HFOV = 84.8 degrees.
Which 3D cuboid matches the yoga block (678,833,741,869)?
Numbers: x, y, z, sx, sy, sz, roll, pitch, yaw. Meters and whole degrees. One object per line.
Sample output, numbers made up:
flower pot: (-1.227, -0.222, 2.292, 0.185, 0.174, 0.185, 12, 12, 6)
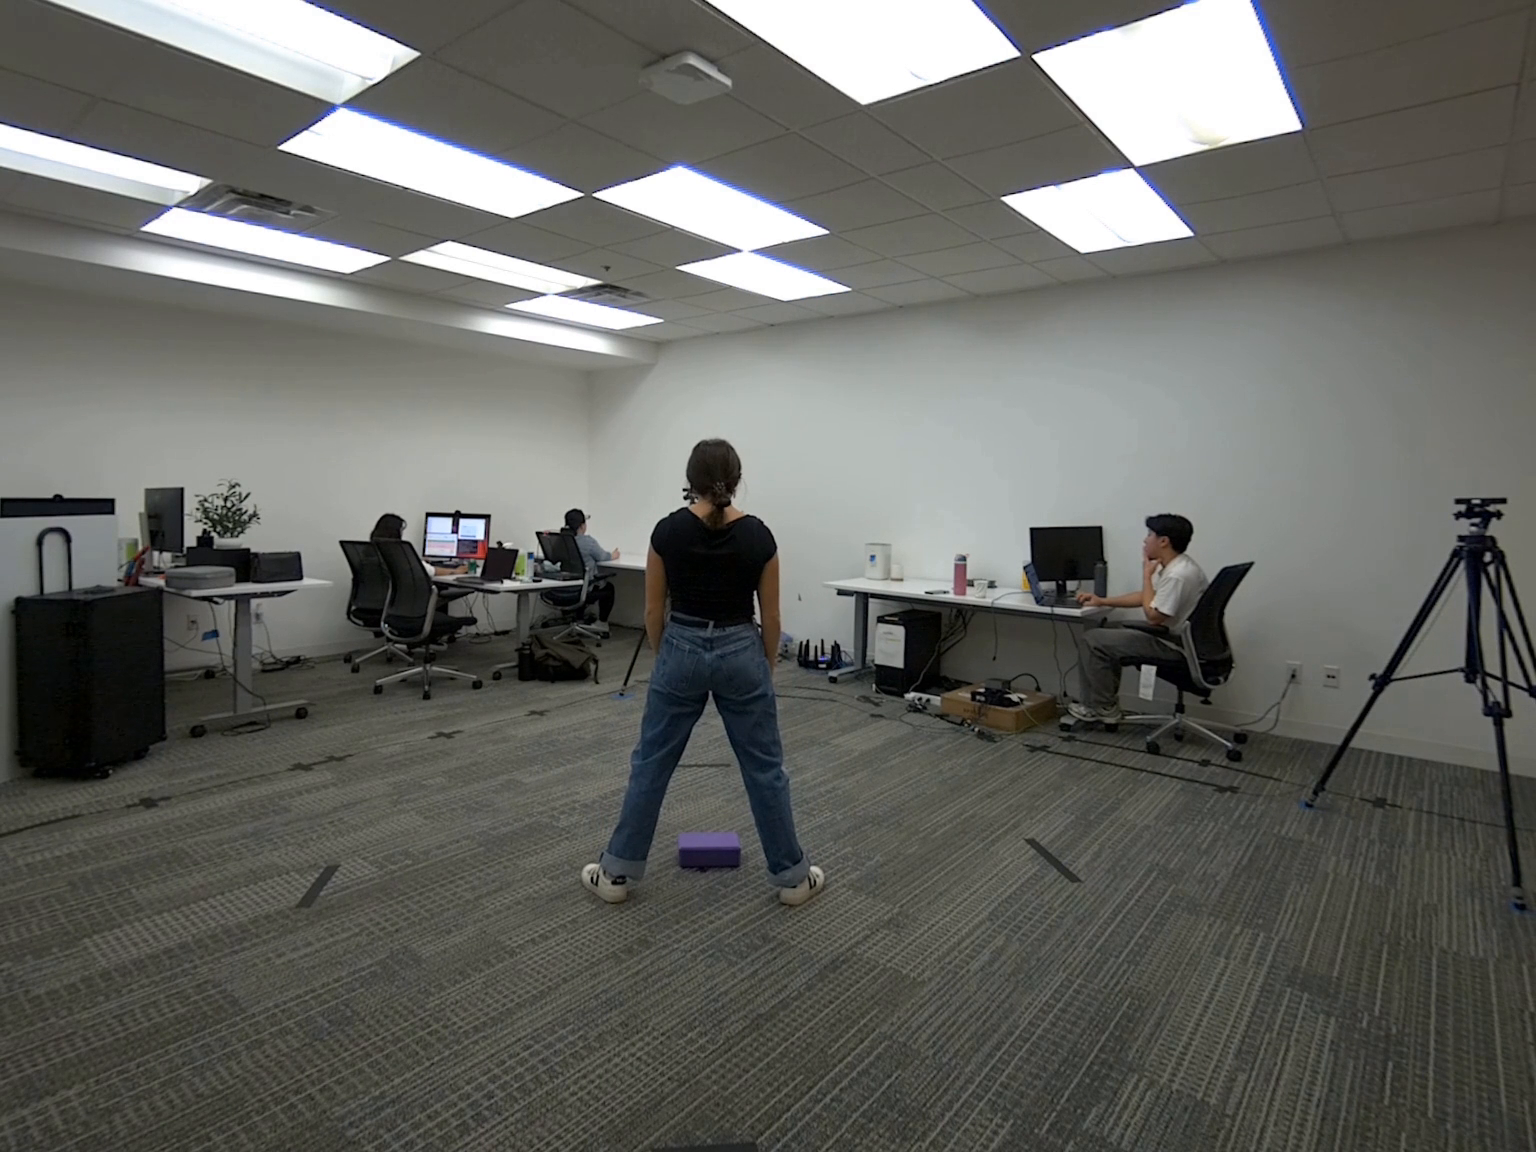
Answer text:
yoga block: (-0.221, 1.017, 3.192, 0.228, 0.076, 0.150, 1, 4, -4)
